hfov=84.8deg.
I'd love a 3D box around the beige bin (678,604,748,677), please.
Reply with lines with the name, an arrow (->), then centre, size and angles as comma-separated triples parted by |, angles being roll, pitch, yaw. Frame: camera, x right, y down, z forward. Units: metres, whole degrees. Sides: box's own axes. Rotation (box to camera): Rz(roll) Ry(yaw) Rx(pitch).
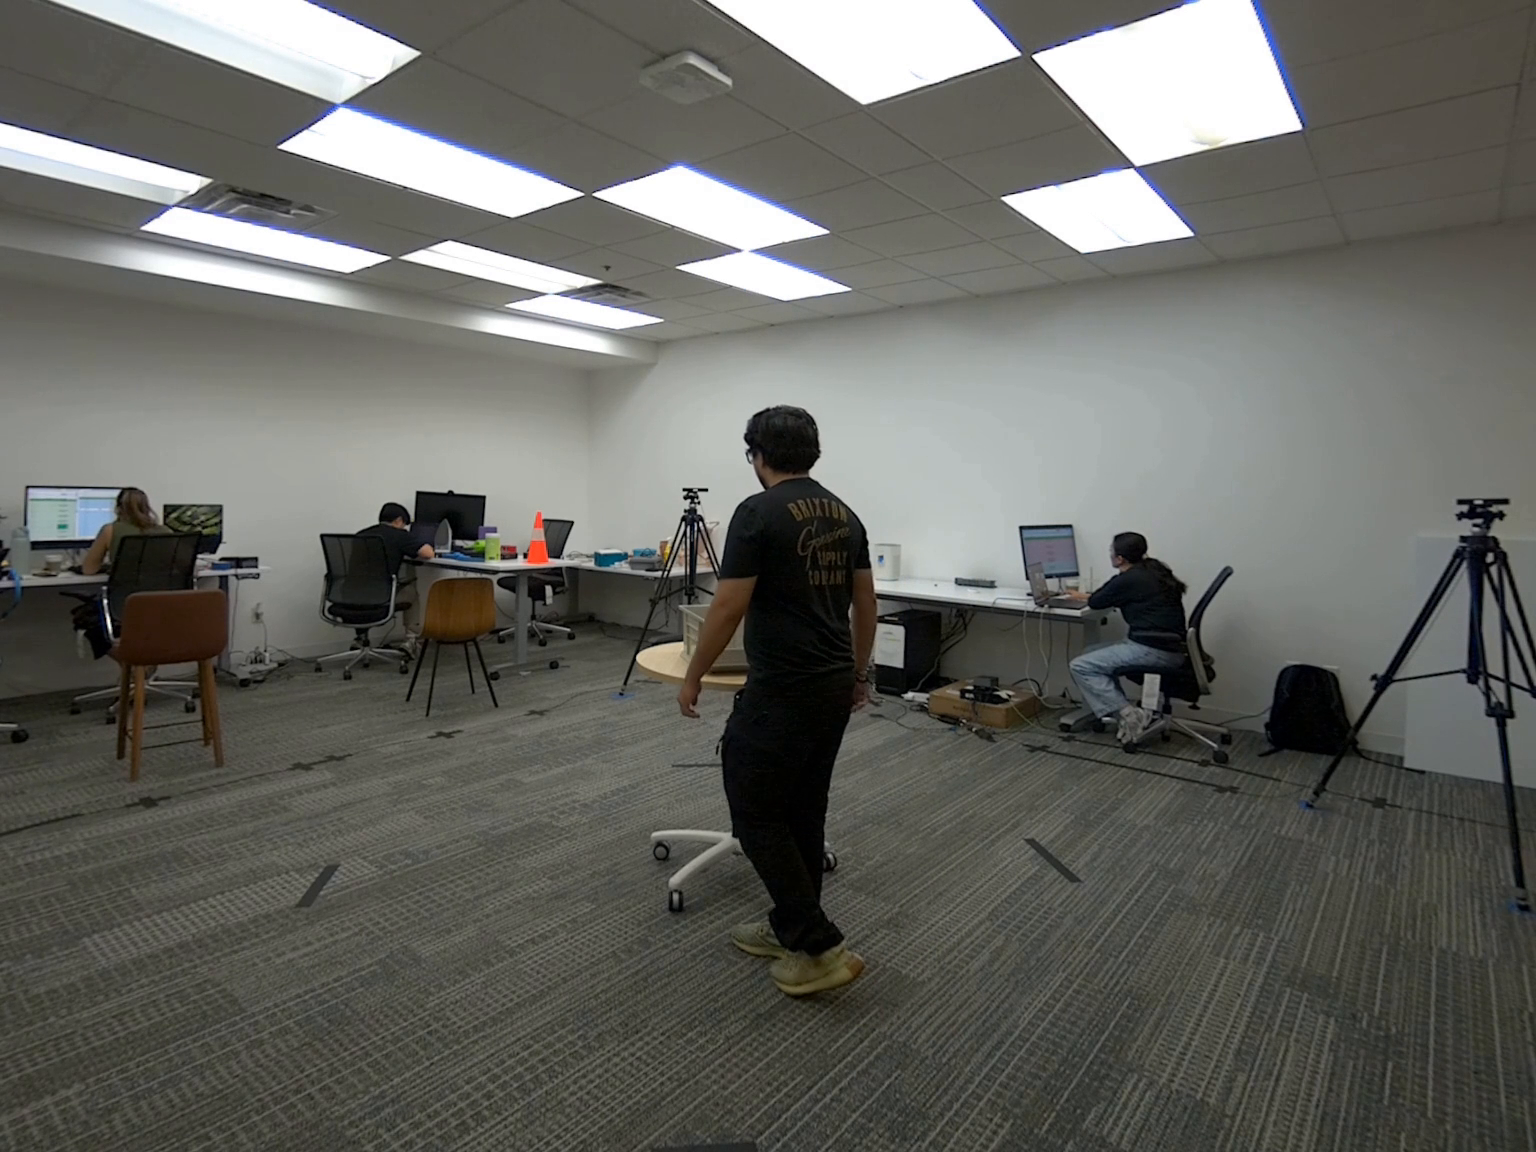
beige bin -> -0.067, 0.211, 2.959 | 0.414, 0.188, 0.386 | -2, 4, -19
